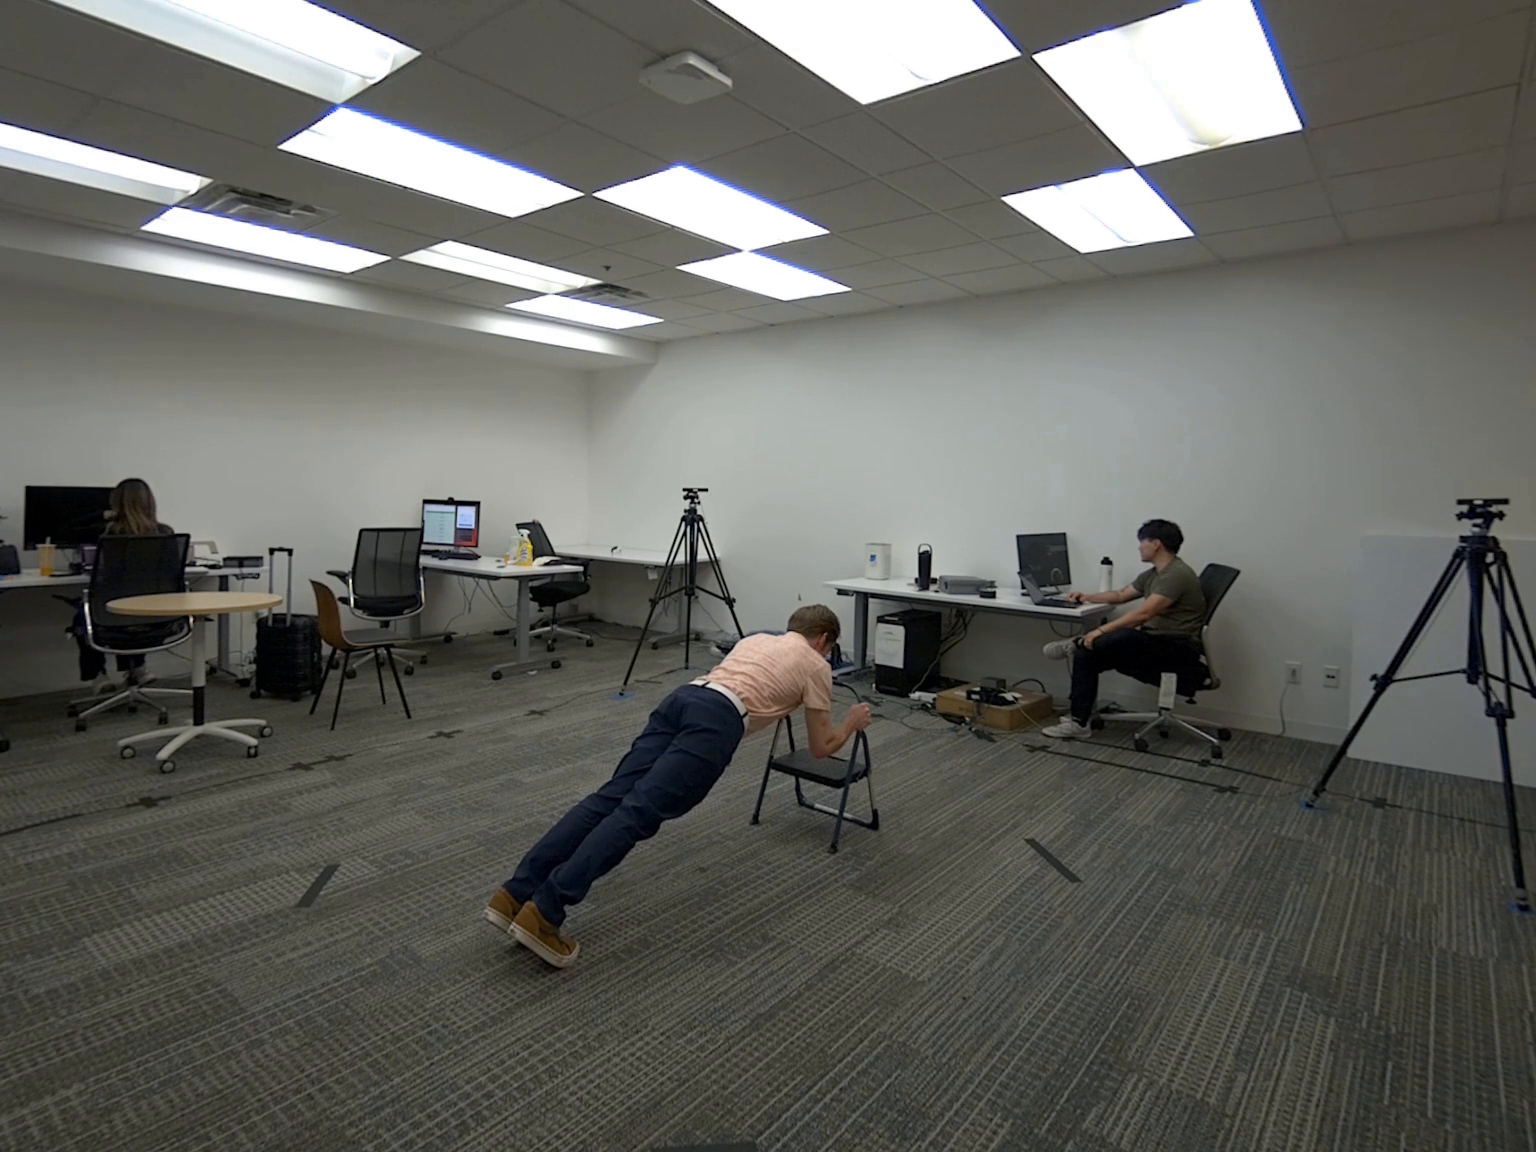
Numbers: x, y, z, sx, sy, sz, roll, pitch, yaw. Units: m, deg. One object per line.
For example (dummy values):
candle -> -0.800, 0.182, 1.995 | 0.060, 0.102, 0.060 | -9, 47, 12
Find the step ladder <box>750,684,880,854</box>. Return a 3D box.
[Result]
step ladder -> 0.196, 0.738, 3.524 | 0.445, 0.604, 0.339 | 4, 4, 40
